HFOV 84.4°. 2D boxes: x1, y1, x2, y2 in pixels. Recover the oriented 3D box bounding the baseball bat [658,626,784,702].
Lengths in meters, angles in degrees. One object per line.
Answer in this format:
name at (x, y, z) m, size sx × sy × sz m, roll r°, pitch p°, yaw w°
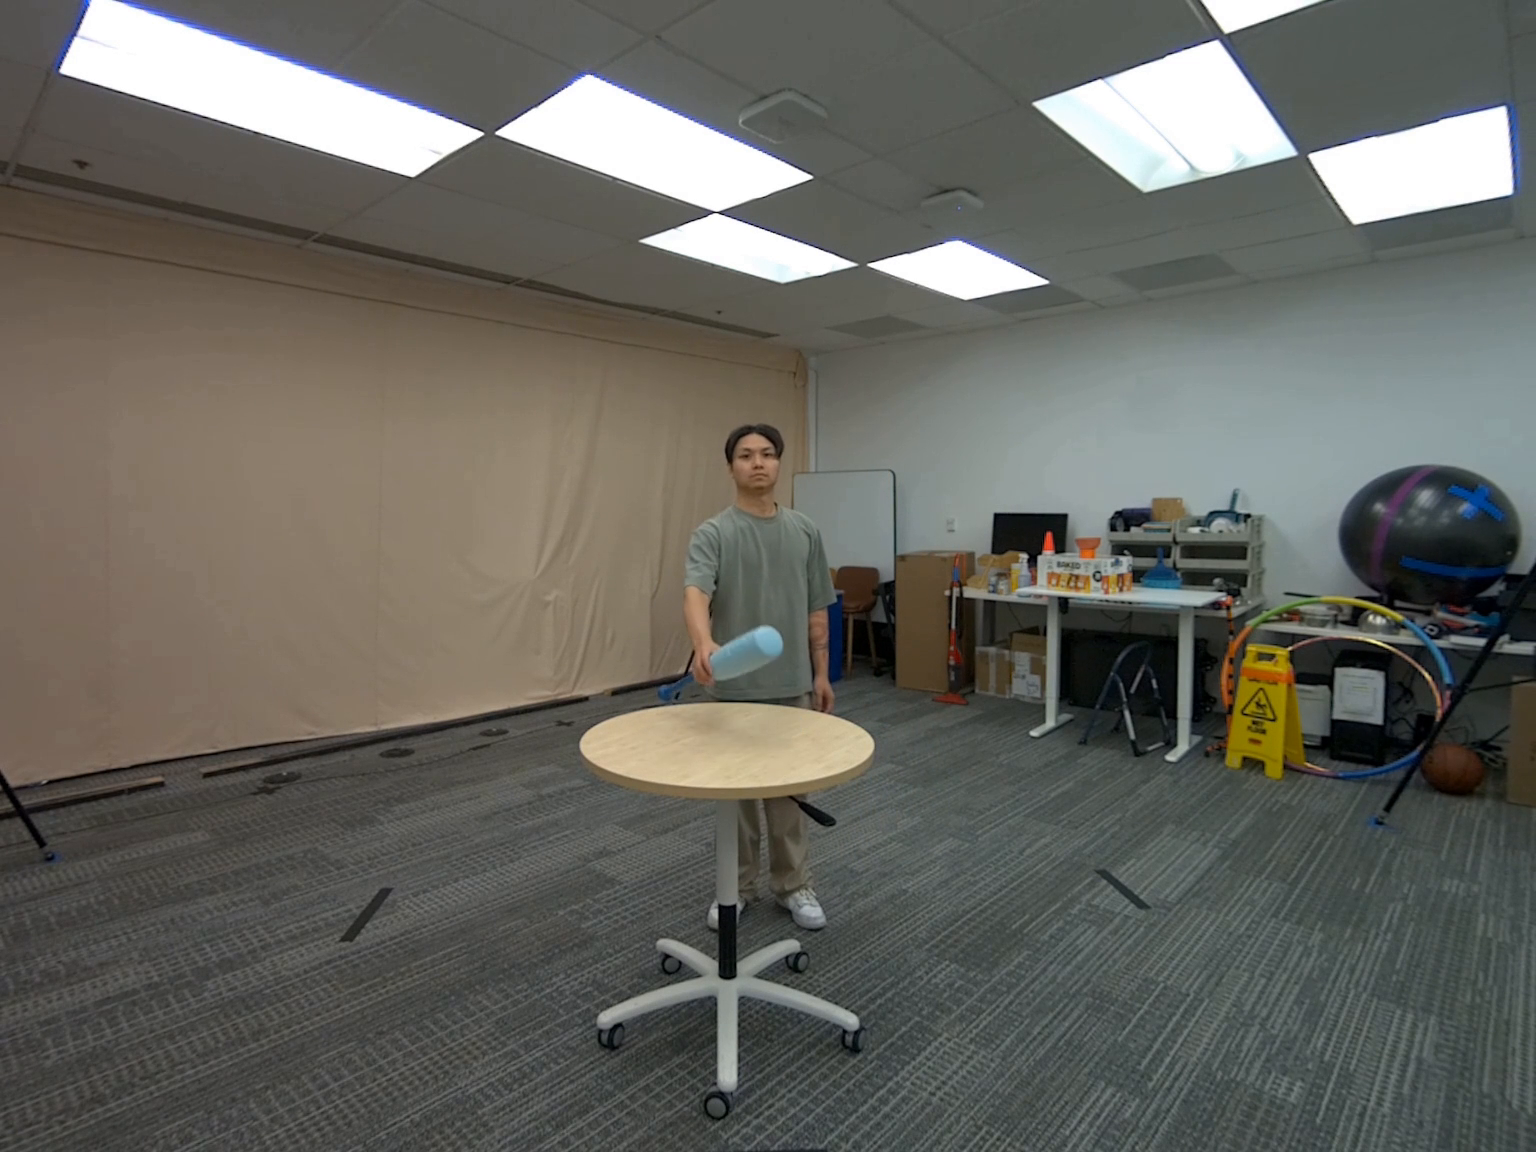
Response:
baseball bat at (-0.153, 0.241, 2.251) m, size 0.086 × 0.090 × 0.552 m, roll -2°, pitch -18°, yaw -36°
